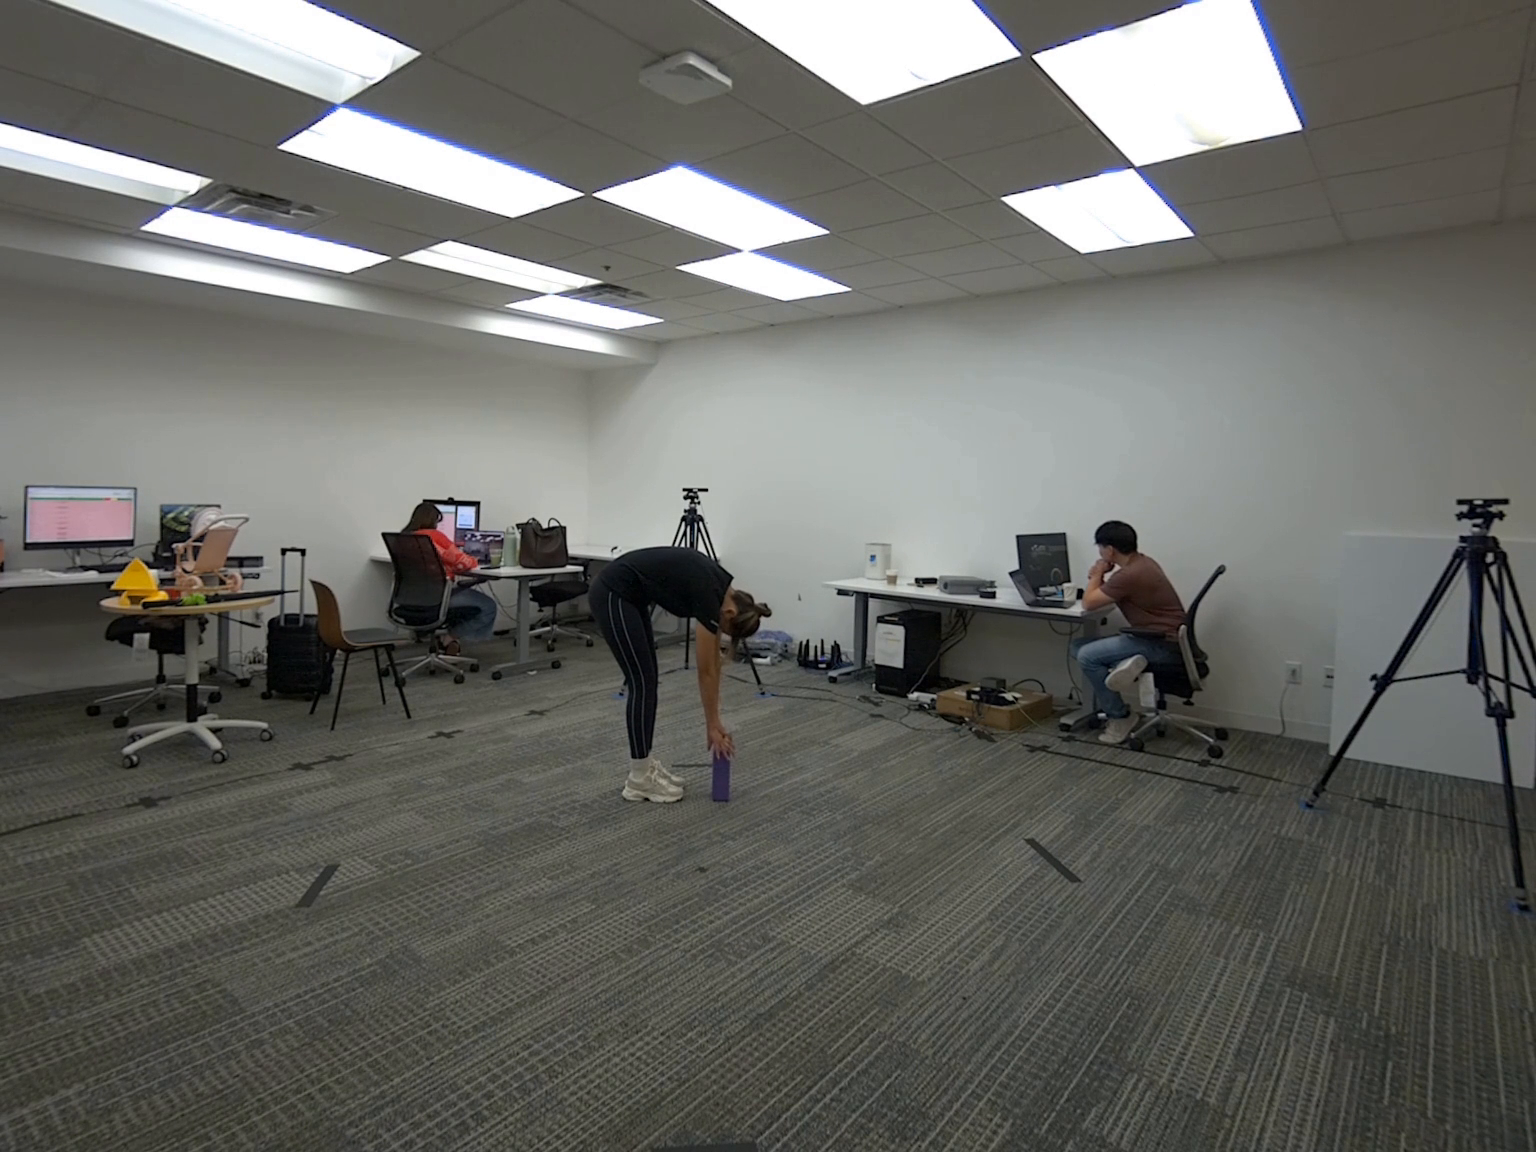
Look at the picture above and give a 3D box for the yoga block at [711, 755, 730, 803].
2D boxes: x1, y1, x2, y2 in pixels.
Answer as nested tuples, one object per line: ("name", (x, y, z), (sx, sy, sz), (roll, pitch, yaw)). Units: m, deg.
("yoga block", (-0.222, 0.885, 3.857), (0.076, 0.228, 0.150), (0, 4, -4))
